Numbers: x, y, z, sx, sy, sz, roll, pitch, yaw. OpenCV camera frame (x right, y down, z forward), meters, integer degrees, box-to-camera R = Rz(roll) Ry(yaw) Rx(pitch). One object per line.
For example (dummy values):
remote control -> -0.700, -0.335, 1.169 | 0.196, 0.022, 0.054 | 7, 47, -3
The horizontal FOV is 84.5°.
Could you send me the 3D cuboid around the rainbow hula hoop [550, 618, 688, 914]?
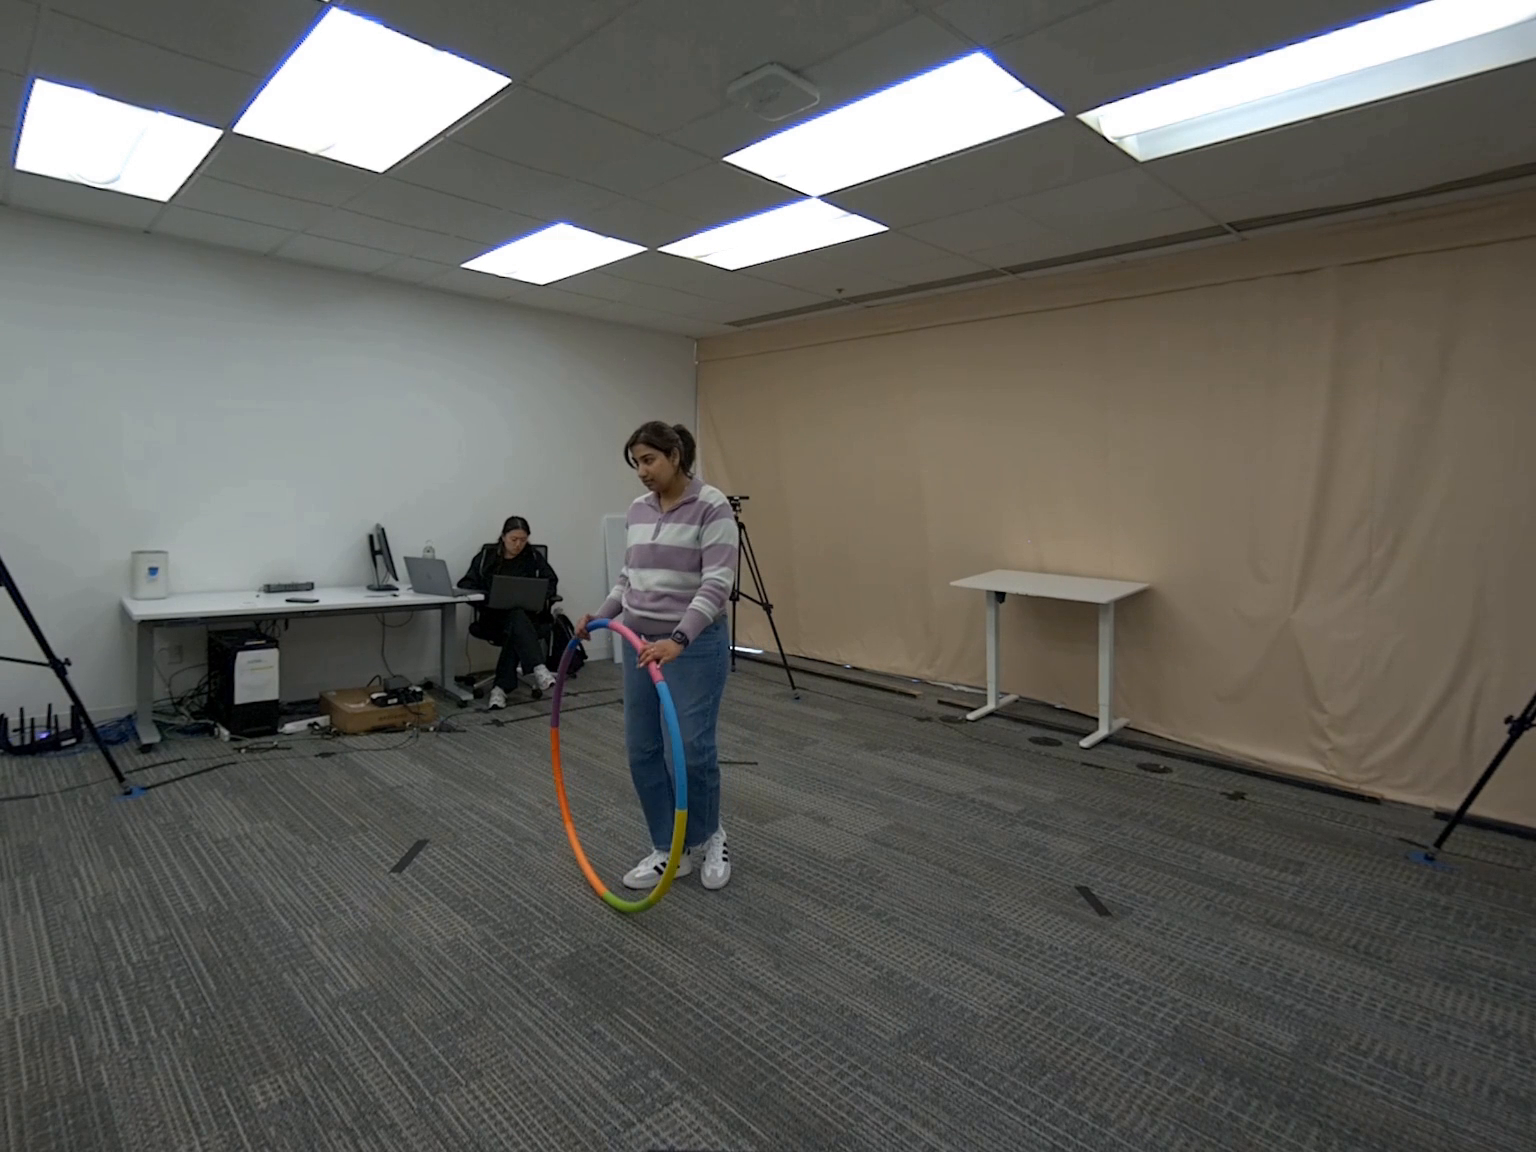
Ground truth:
rainbow hula hoop -> -0.546, 0.635, 2.861 | 0.050, 0.982, 1.009 | -2, 5, -35
